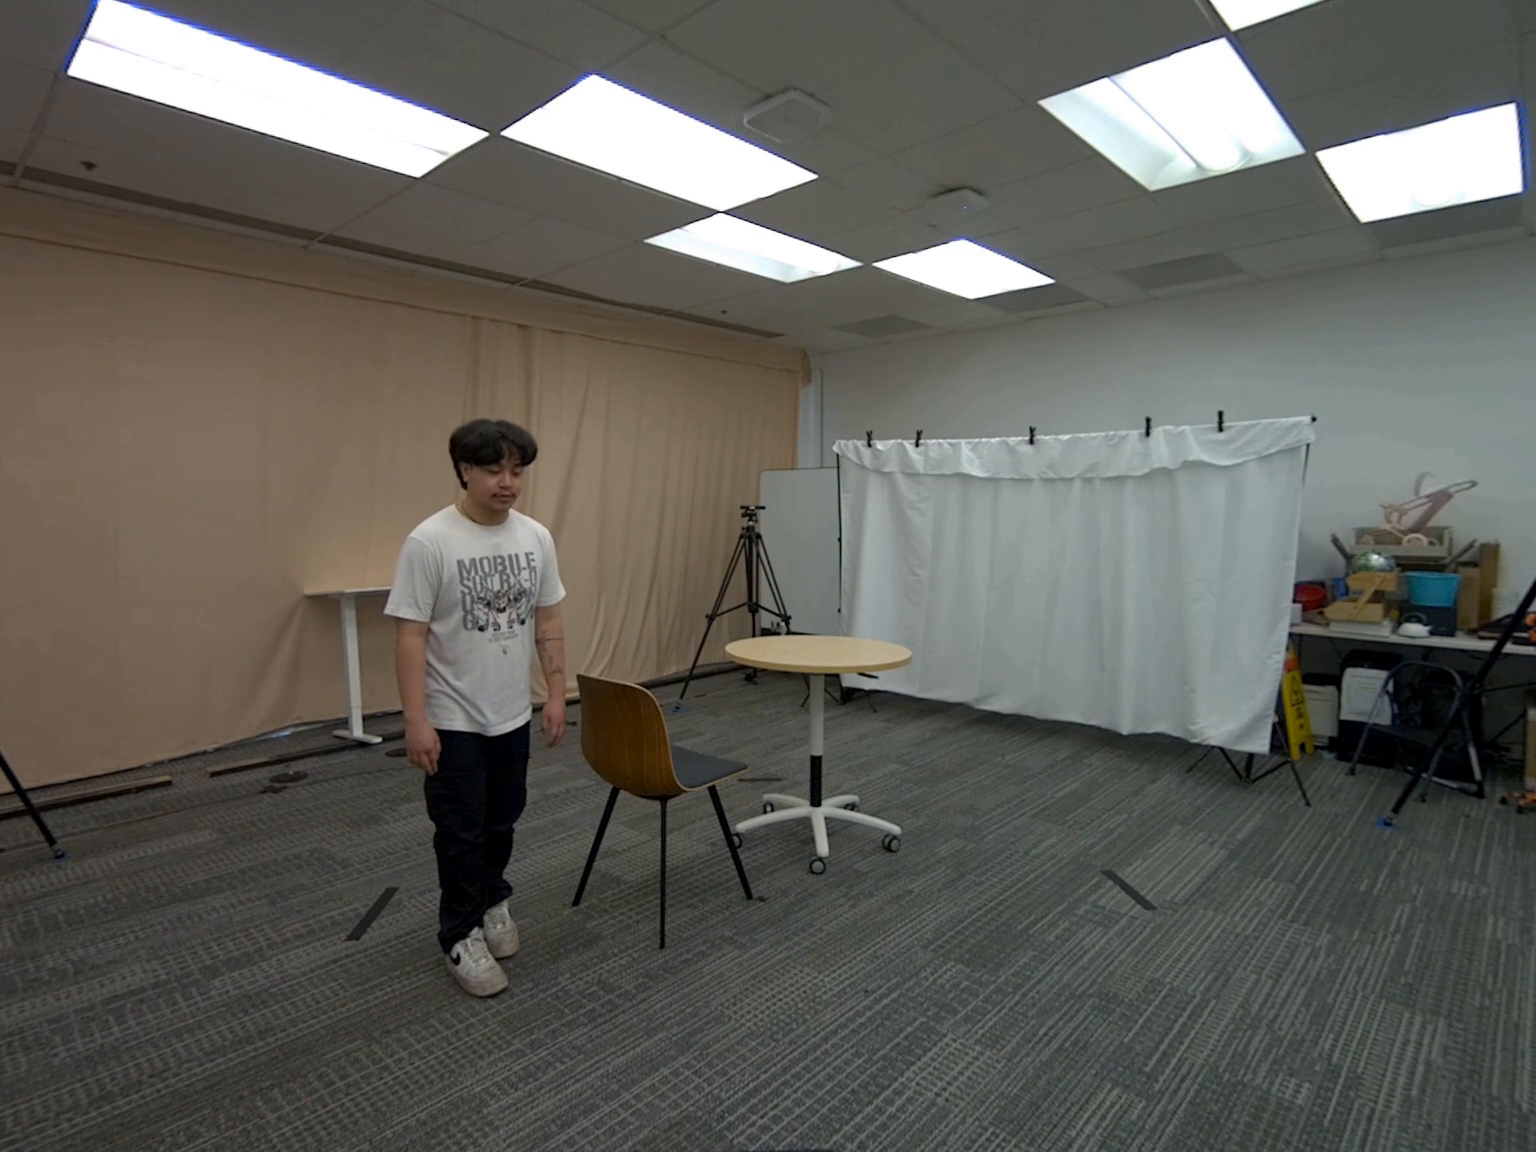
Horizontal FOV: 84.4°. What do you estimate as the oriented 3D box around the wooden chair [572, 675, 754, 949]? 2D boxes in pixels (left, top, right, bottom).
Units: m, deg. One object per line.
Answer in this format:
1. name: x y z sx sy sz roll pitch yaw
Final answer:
1. wooden chair: -0.364 0.723 2.940 0.494 0.873 0.508 2 8 40
